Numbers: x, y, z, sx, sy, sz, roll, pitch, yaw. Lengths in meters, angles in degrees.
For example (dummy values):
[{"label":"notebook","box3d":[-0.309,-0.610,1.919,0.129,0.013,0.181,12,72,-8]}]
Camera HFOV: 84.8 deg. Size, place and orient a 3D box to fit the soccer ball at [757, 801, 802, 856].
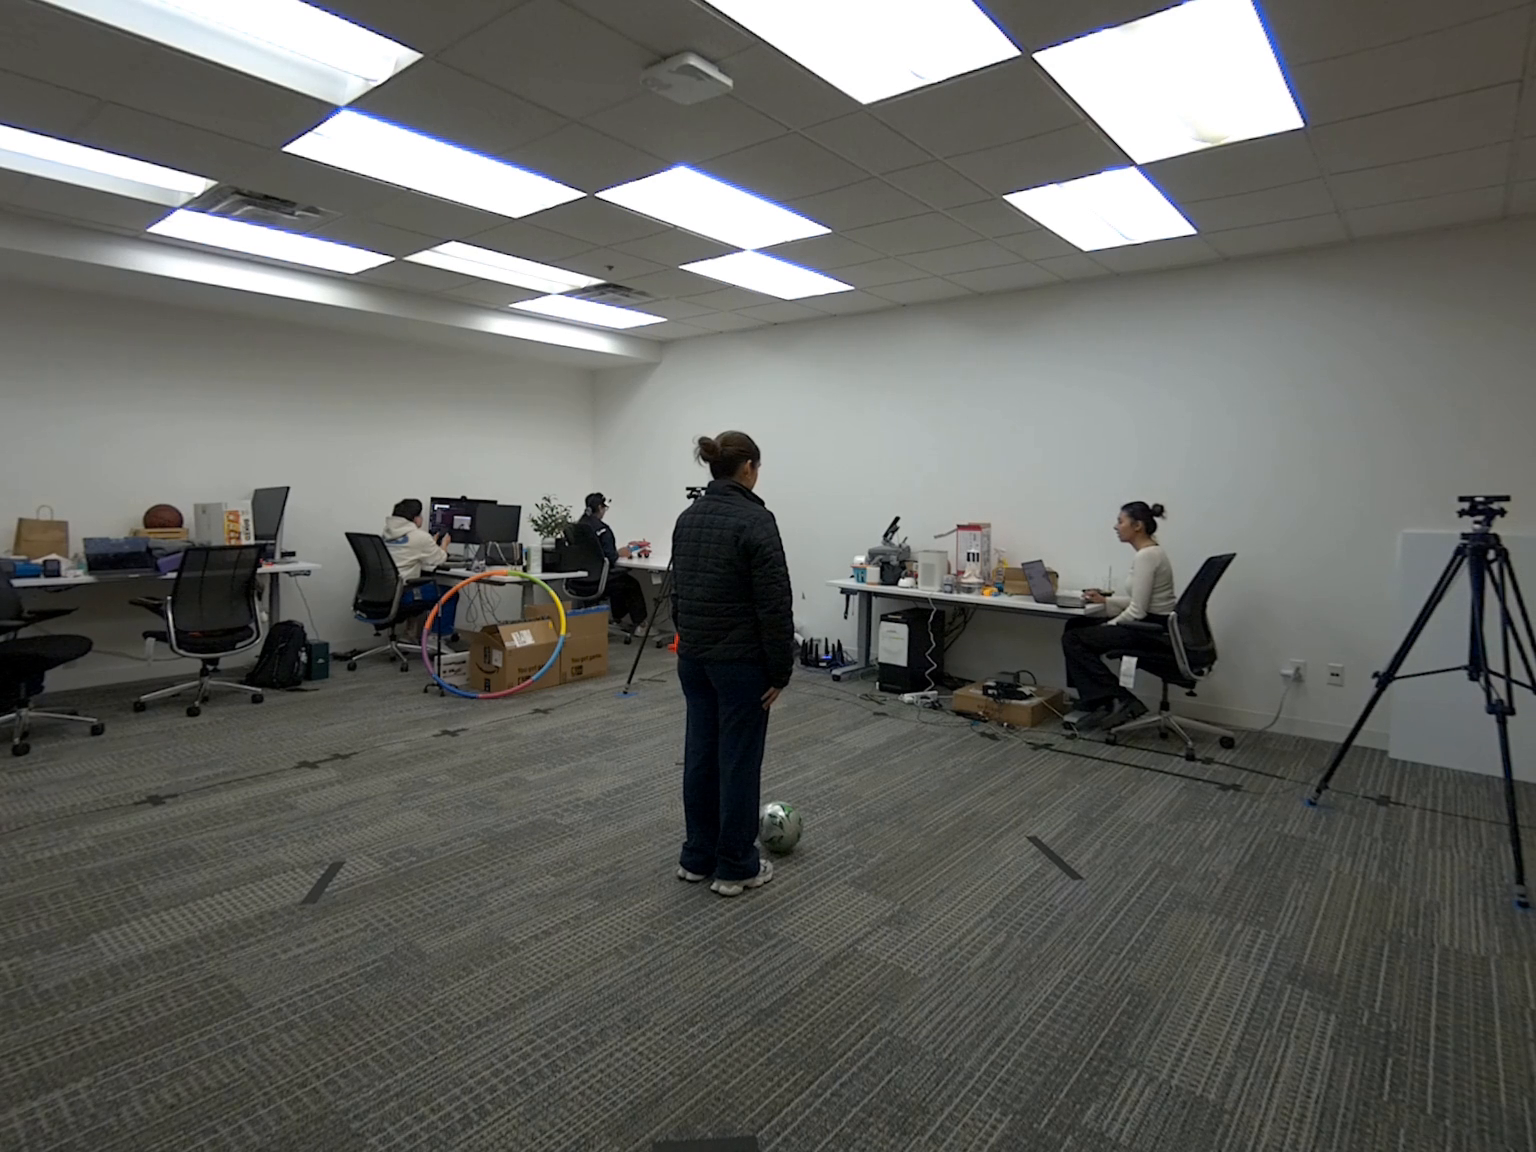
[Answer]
[{"label":"soccer ball","box3d":[0.035,0.957,3.276,0.187,0.187,0.188,1,4,-2]}]
